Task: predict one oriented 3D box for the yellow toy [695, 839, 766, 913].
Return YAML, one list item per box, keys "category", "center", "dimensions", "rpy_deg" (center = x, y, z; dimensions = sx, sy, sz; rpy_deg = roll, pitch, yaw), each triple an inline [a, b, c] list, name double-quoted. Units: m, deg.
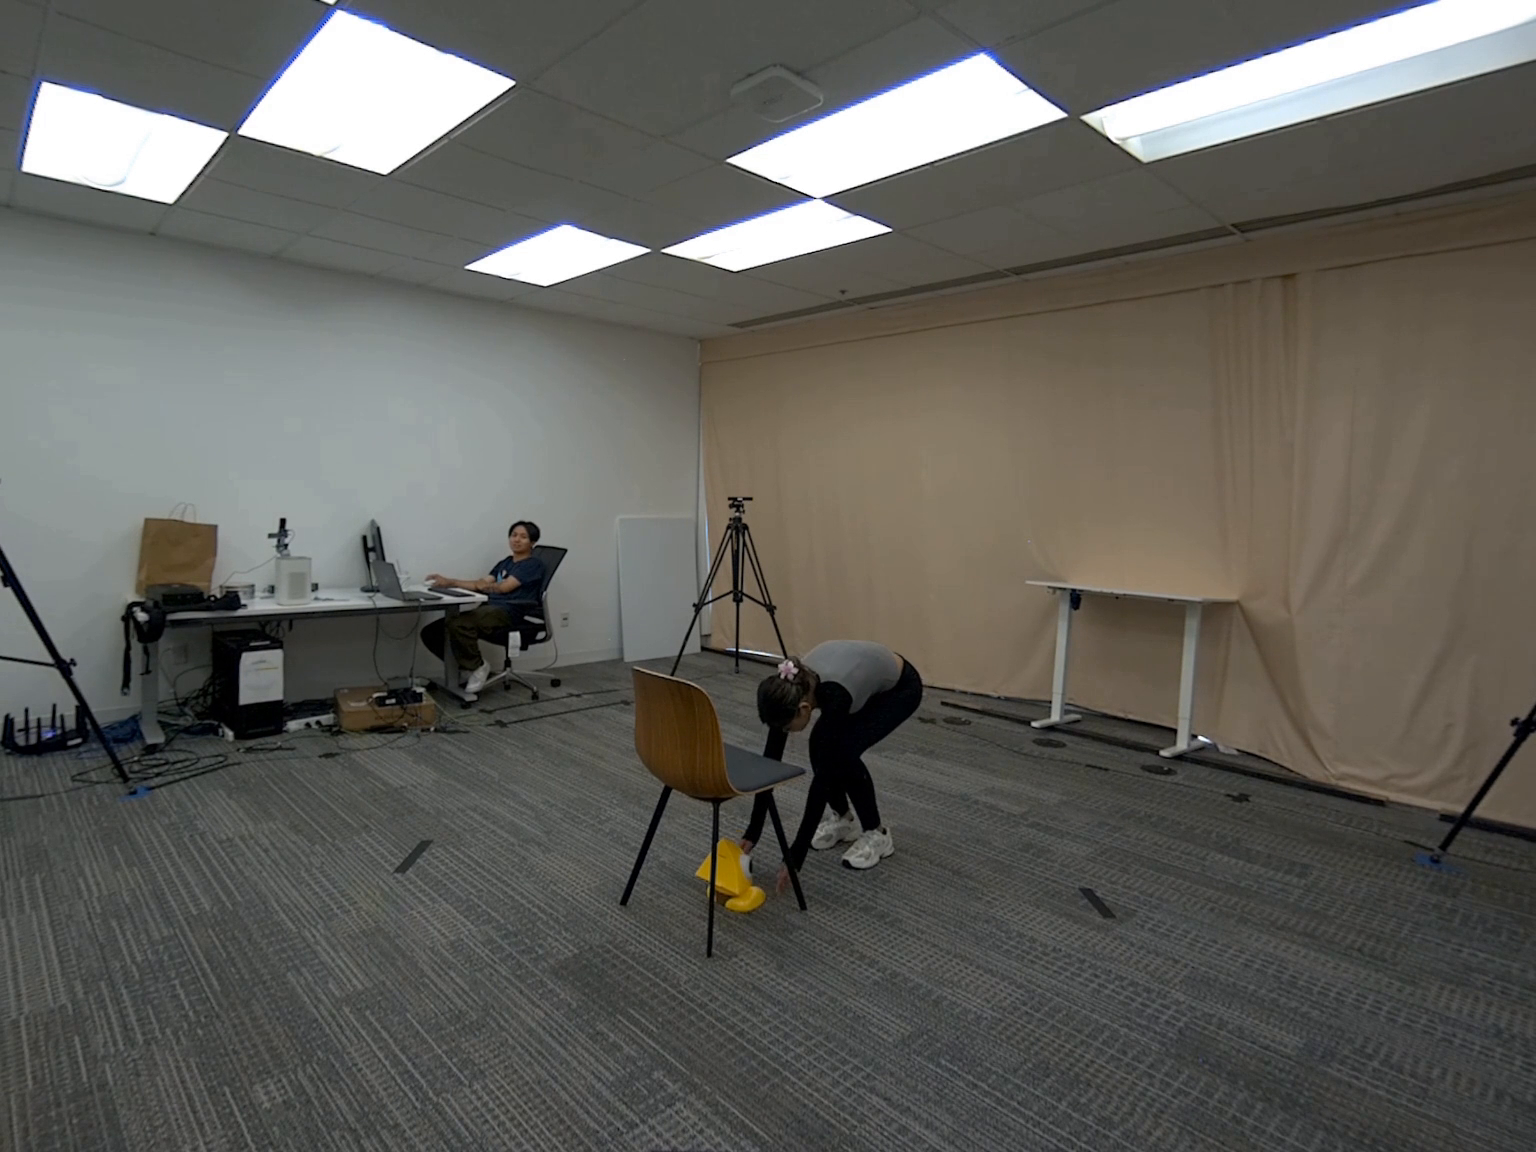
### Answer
- category: "yellow toy"
  center: [-0.123, 1.013, 2.933]
  dimensions: [0.210, 0.230, 0.189]
  rpy_deg: [4, 6, 43]
